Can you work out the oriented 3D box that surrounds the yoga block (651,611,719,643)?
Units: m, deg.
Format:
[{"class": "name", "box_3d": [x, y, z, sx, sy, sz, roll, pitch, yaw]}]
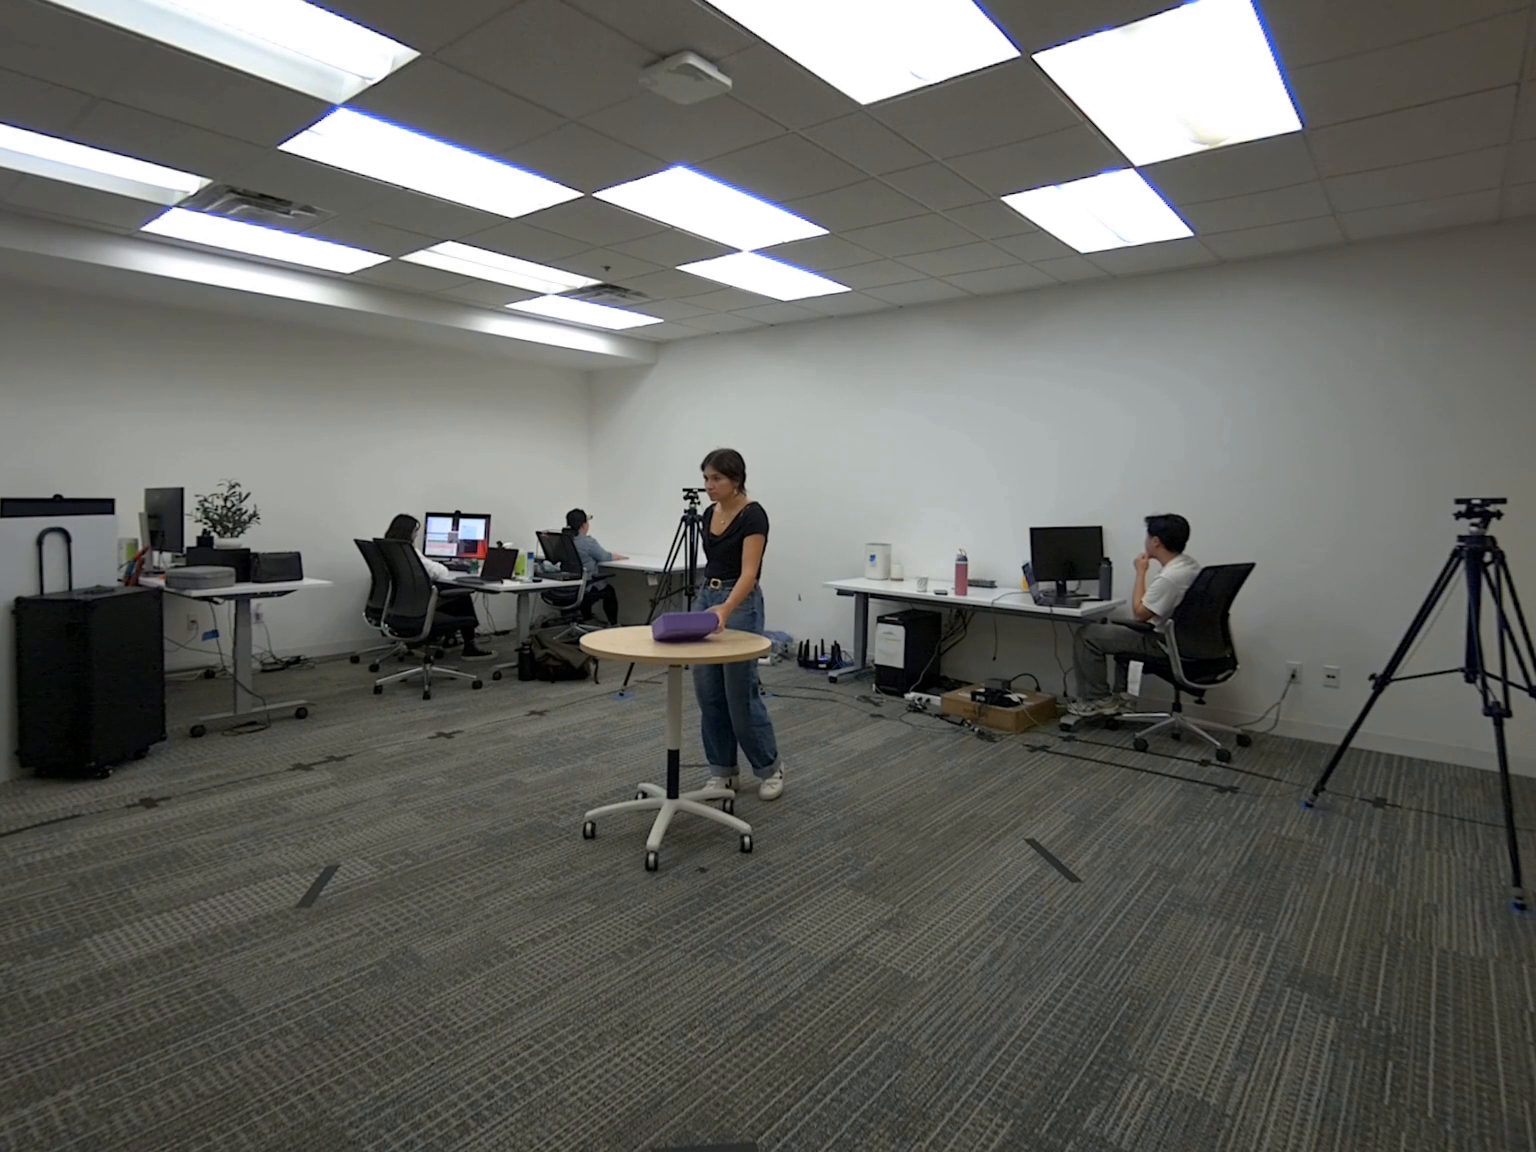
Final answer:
[{"class": "yoga block", "box_3d": [-0.335, 0.195, 3.394, 0.224, 0.078, 0.150, 0, -16, -25]}]
